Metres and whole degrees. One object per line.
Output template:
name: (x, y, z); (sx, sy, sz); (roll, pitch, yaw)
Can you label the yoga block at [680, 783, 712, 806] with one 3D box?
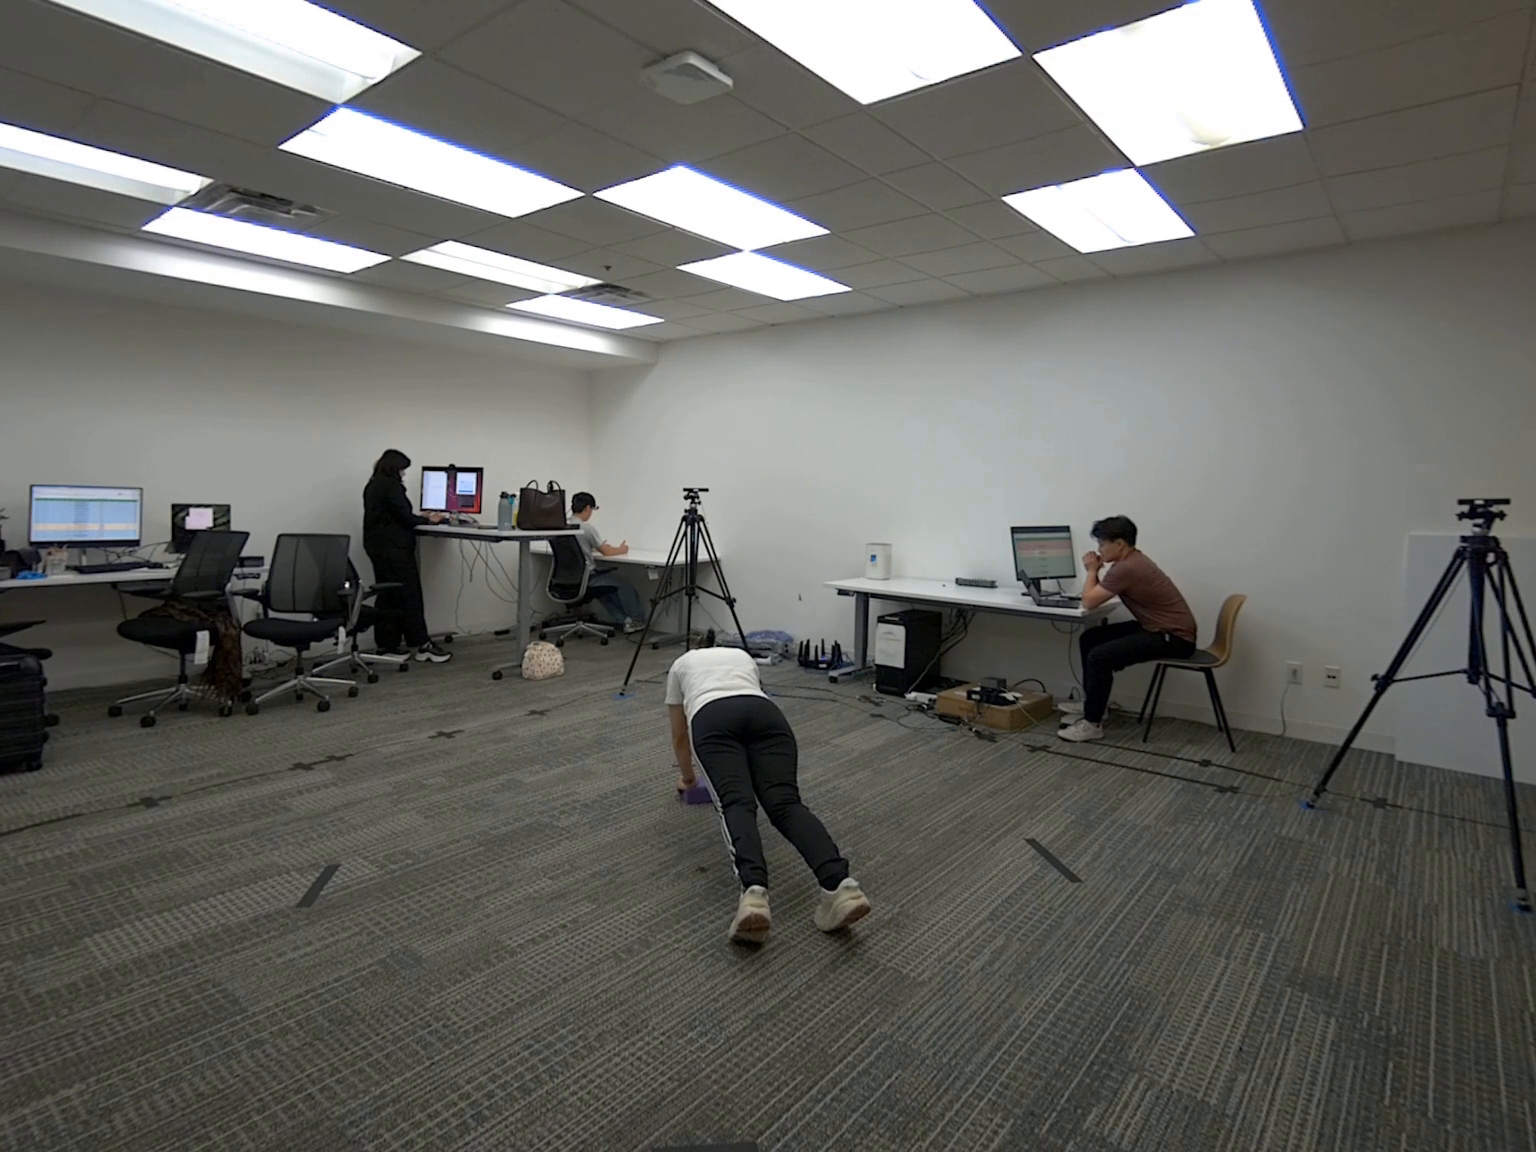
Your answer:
yoga block: (-0.273, 0.959, 3.837); (0.226, 0.076, 0.152); (-2, 5, -15)
